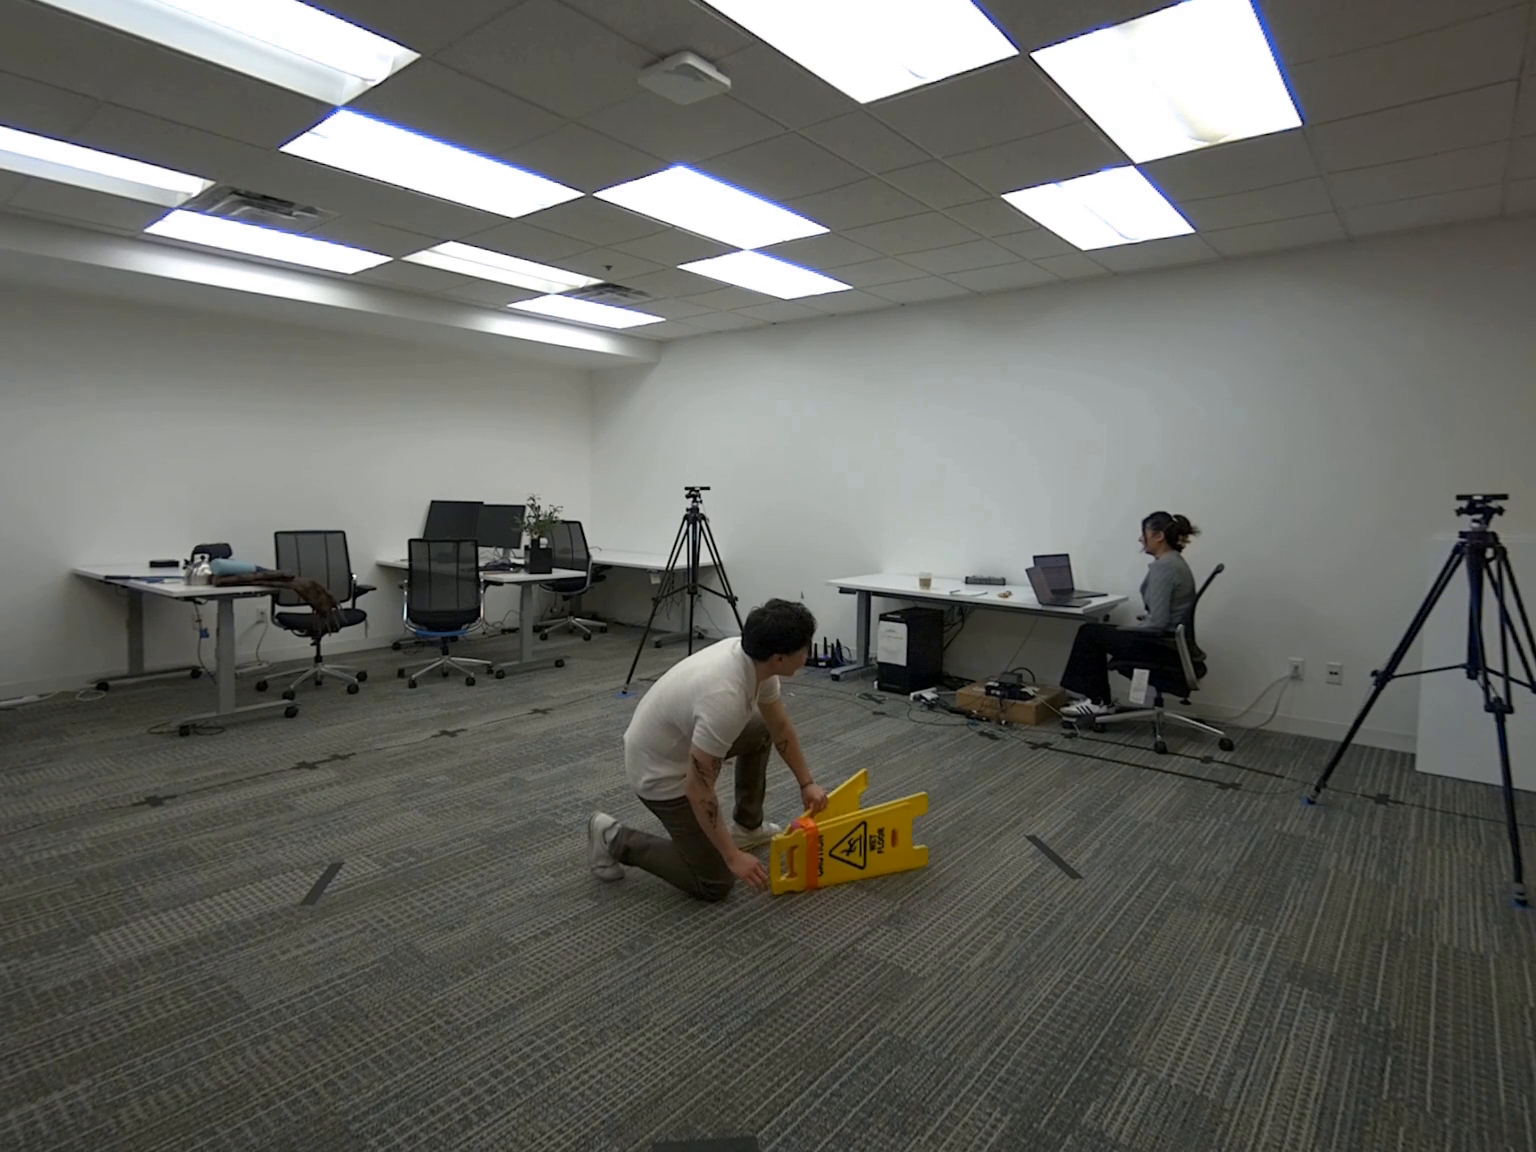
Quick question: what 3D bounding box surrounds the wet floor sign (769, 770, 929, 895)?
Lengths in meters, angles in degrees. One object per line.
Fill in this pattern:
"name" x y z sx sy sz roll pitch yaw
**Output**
"wet floor sign" 0.249 0.953 3.076 0.628 0.280 0.300 -8 10 -39
